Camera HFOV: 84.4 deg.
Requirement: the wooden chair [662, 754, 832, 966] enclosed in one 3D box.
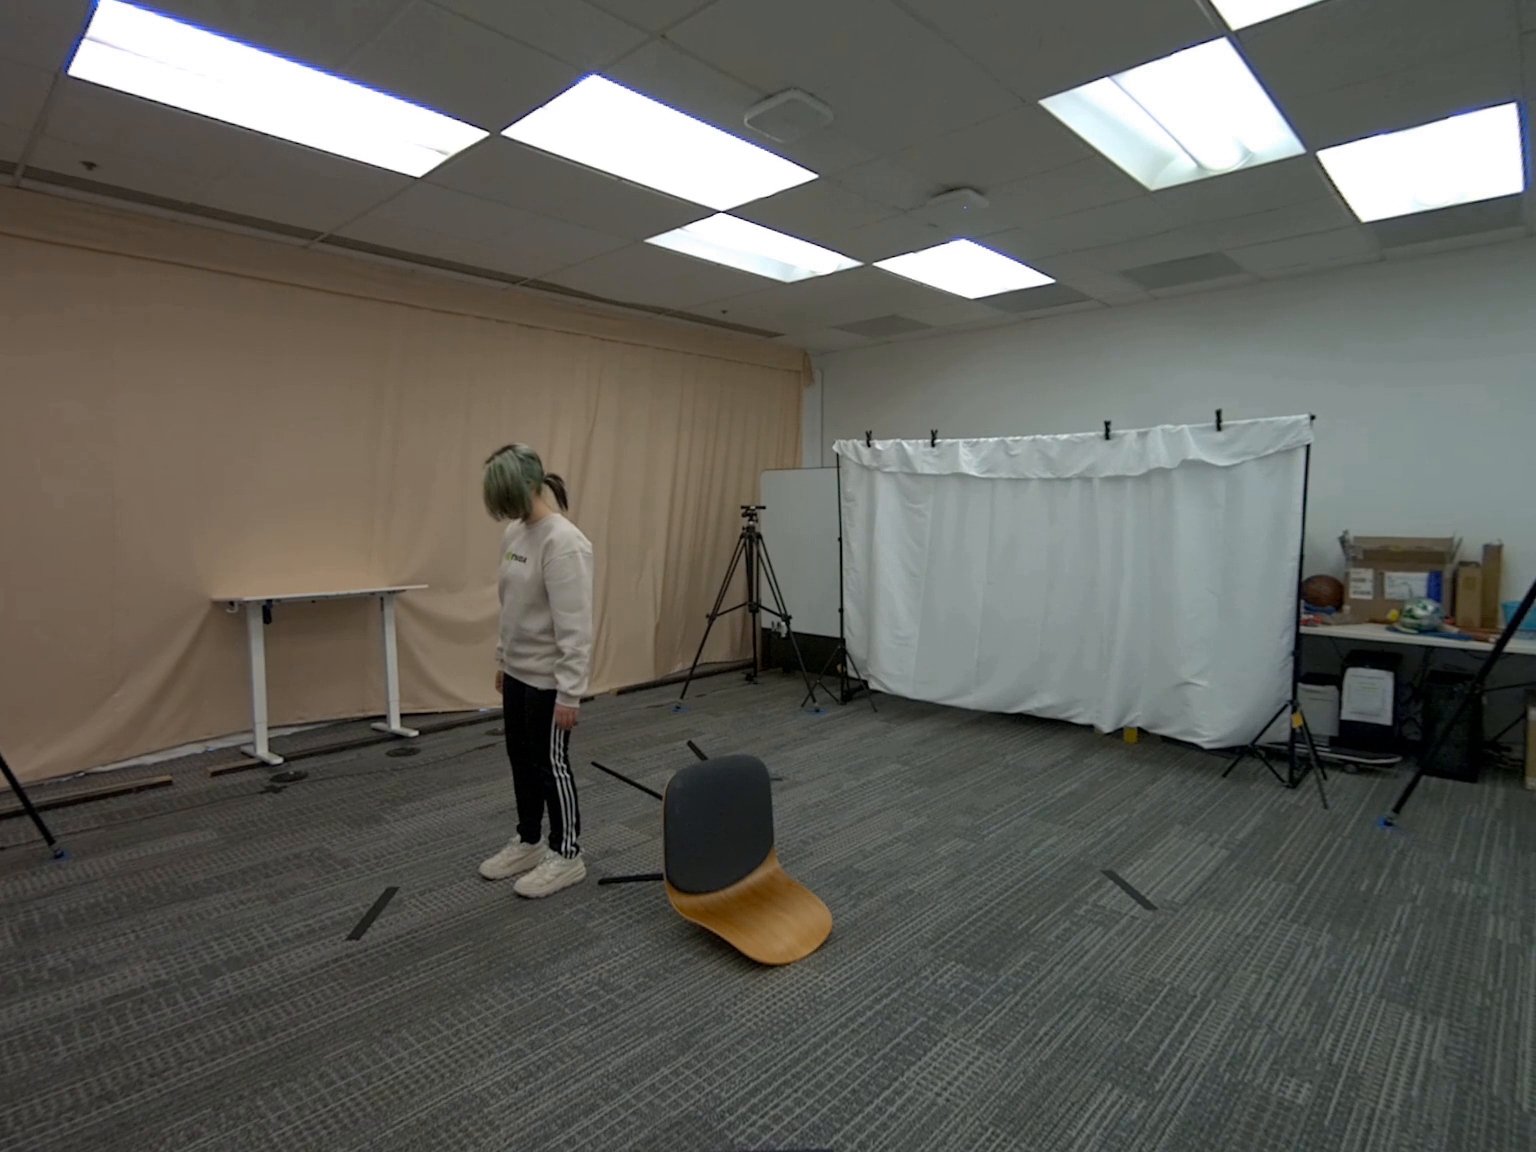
[{"bbox_3d":[-0.187,0.894,2.907,0.464,0.521,0.907,-4,6,-39],"label":"wooden chair"}]
